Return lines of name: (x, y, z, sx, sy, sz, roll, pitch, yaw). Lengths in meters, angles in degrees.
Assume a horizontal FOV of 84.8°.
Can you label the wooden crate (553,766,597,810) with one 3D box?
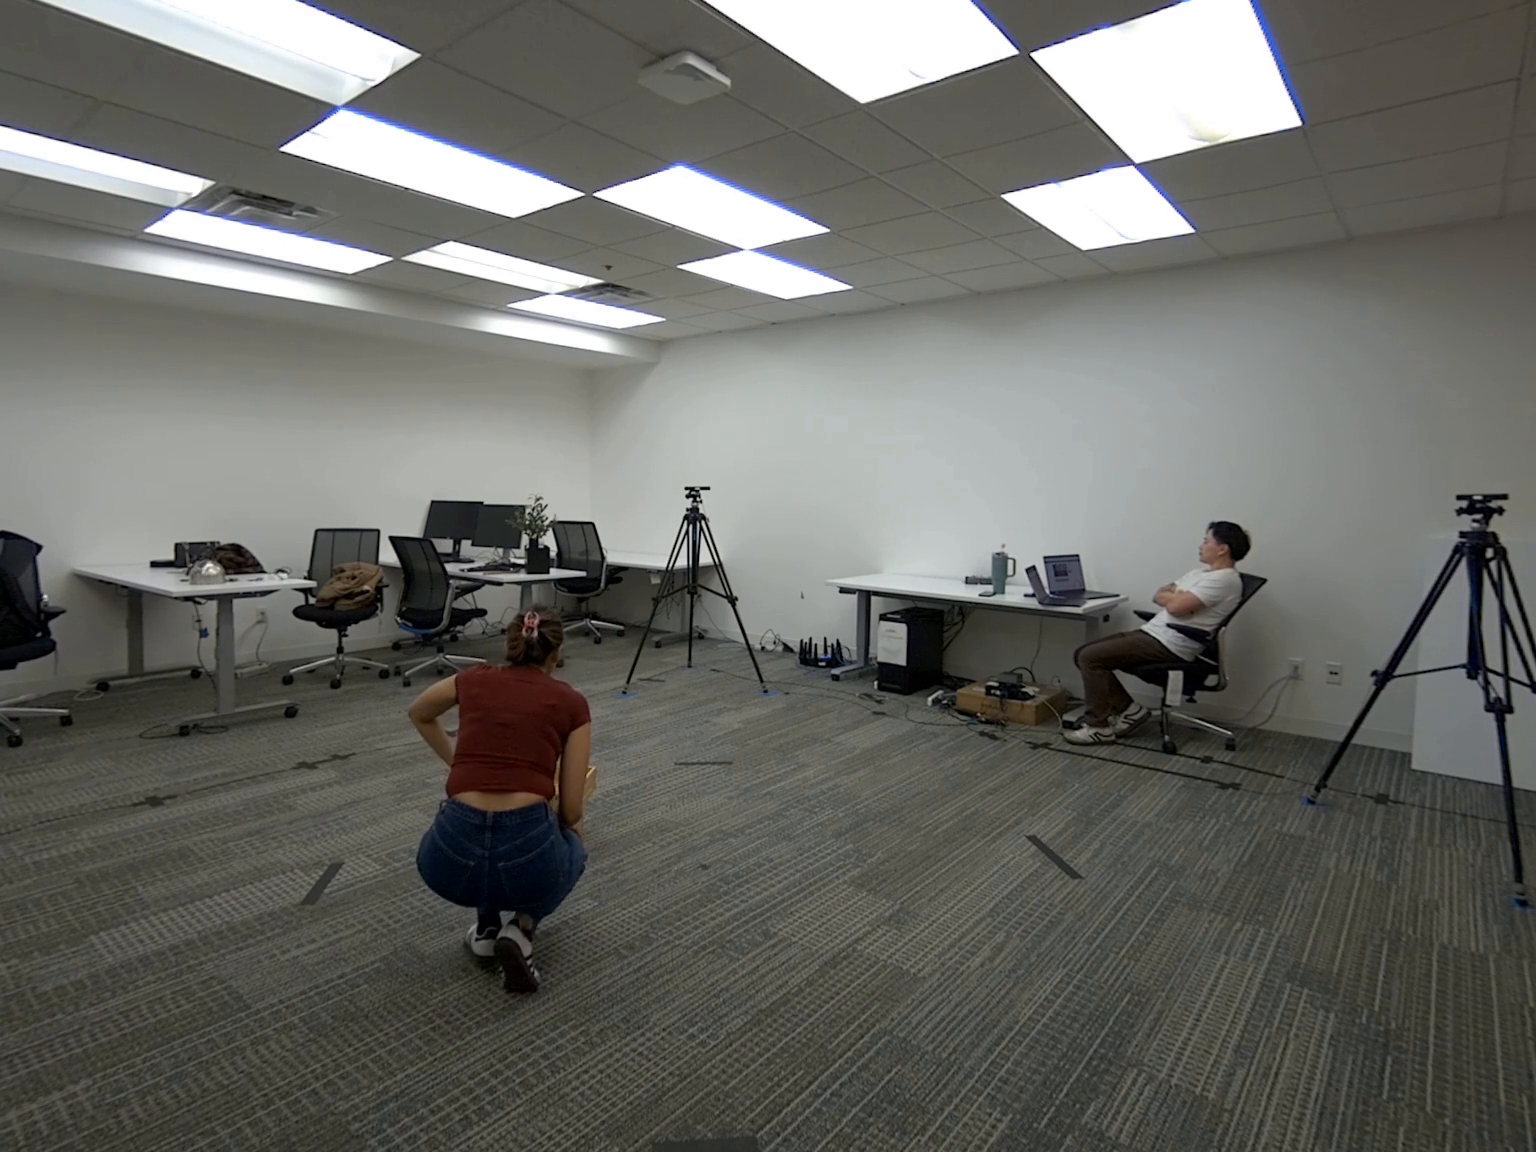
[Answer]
wooden crate: (-0.873, 0.902, 3.300, 0.304, 0.272, 0.323, 0, 4, 5)
